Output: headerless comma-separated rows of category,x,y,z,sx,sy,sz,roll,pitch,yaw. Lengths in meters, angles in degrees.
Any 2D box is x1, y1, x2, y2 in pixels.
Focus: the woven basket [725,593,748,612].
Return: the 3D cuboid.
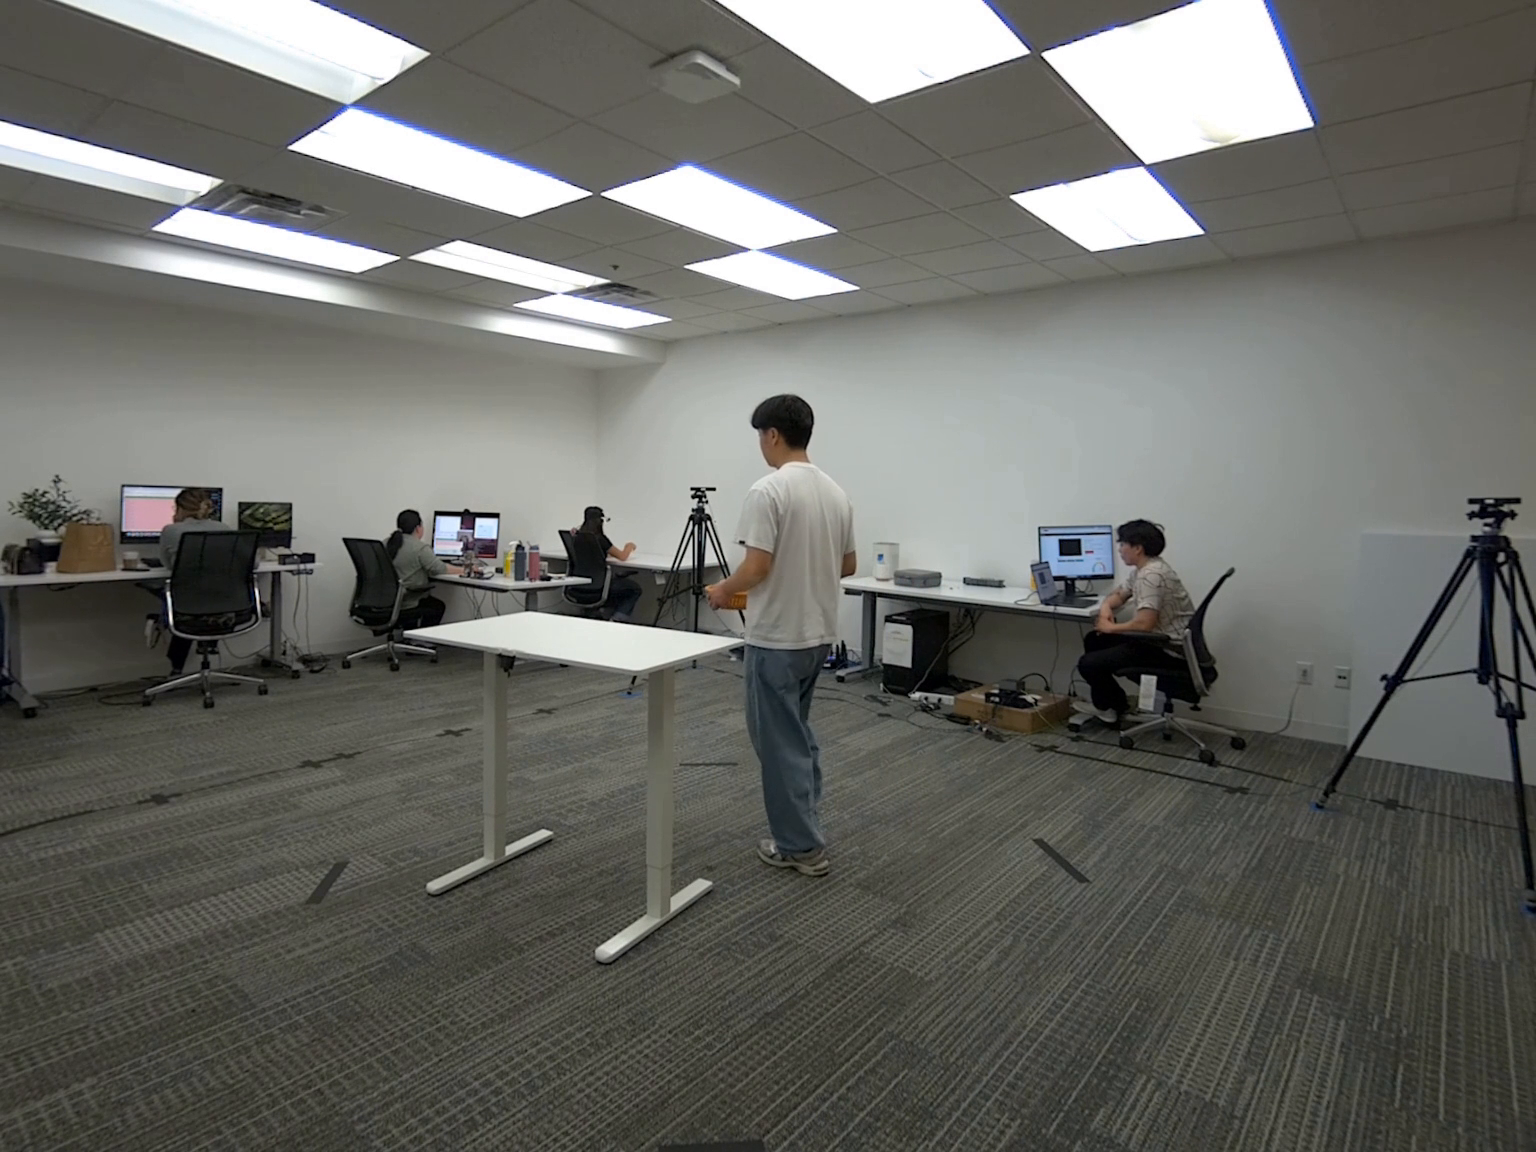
woven basket,-0.082,0.083,3.328,0.340,0.073,0.261,-4,8,-43
